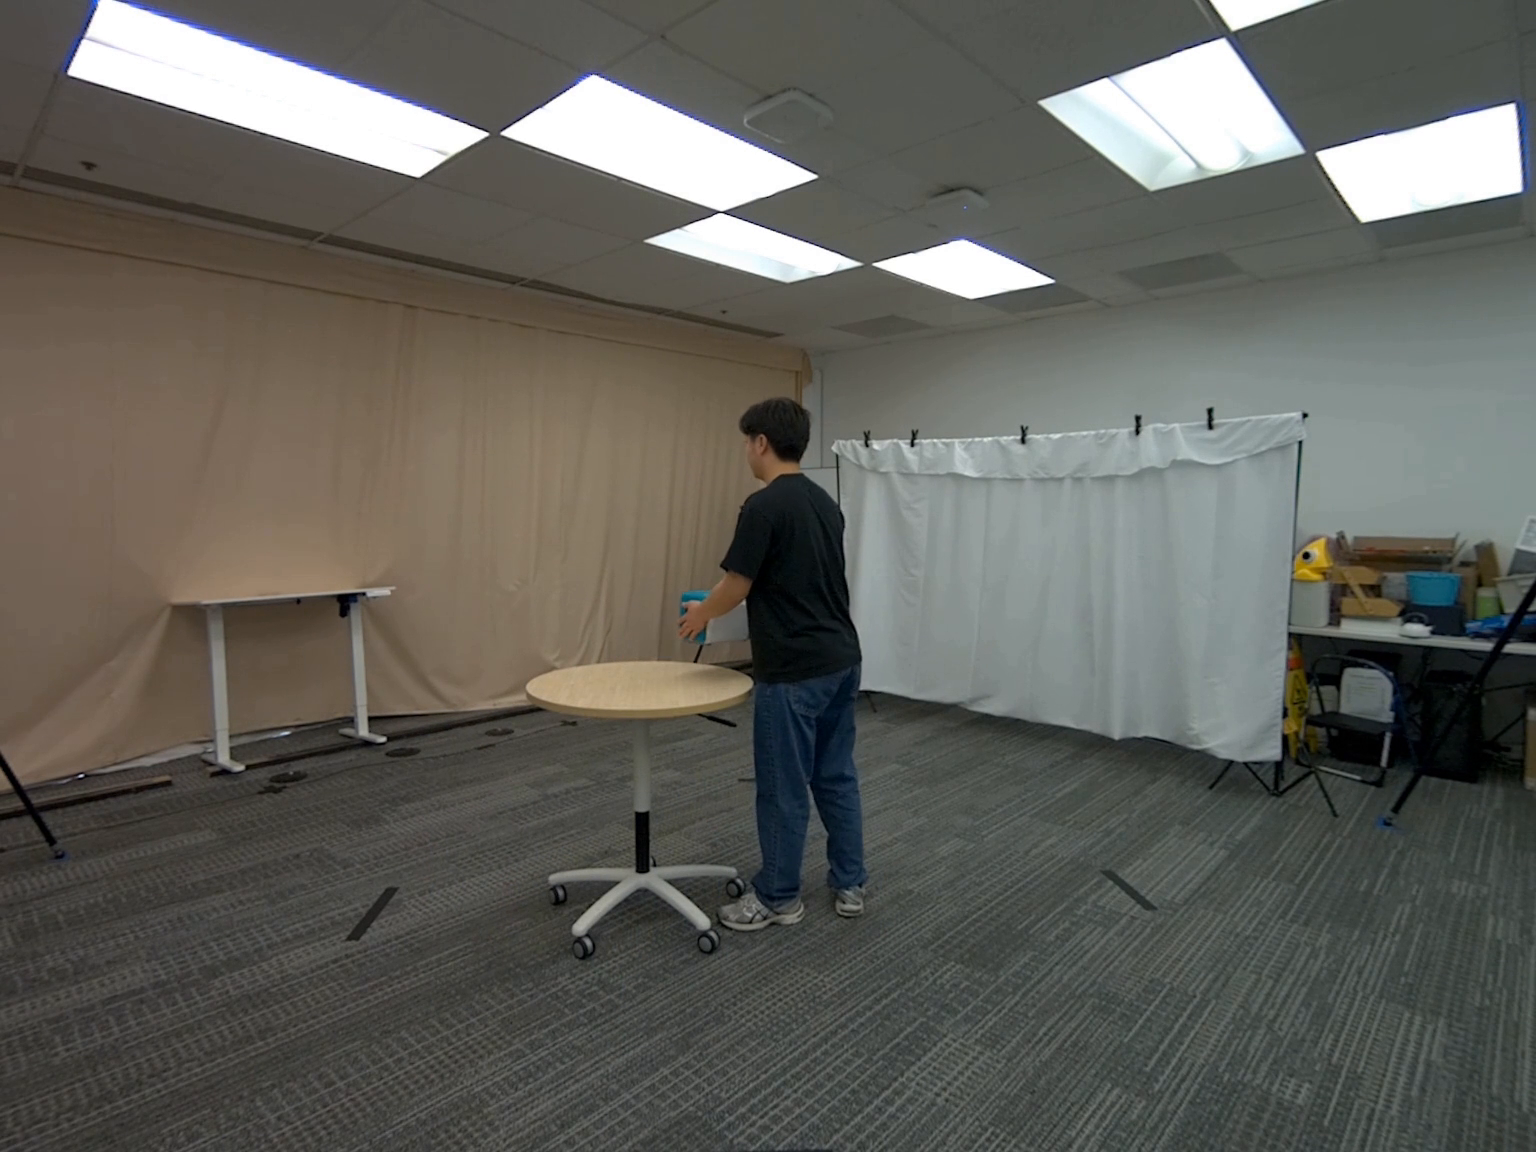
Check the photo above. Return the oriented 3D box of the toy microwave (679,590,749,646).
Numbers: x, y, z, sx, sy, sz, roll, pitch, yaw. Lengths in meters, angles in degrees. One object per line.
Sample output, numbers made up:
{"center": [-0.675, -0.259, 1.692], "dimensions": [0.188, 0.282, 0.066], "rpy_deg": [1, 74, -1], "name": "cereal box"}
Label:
{"center": [-0.162, 0.150, 3.055], "dimensions": [0.277, 0.184, 0.157], "rpy_deg": [-2, 5, -43], "name": "toy microwave"}
